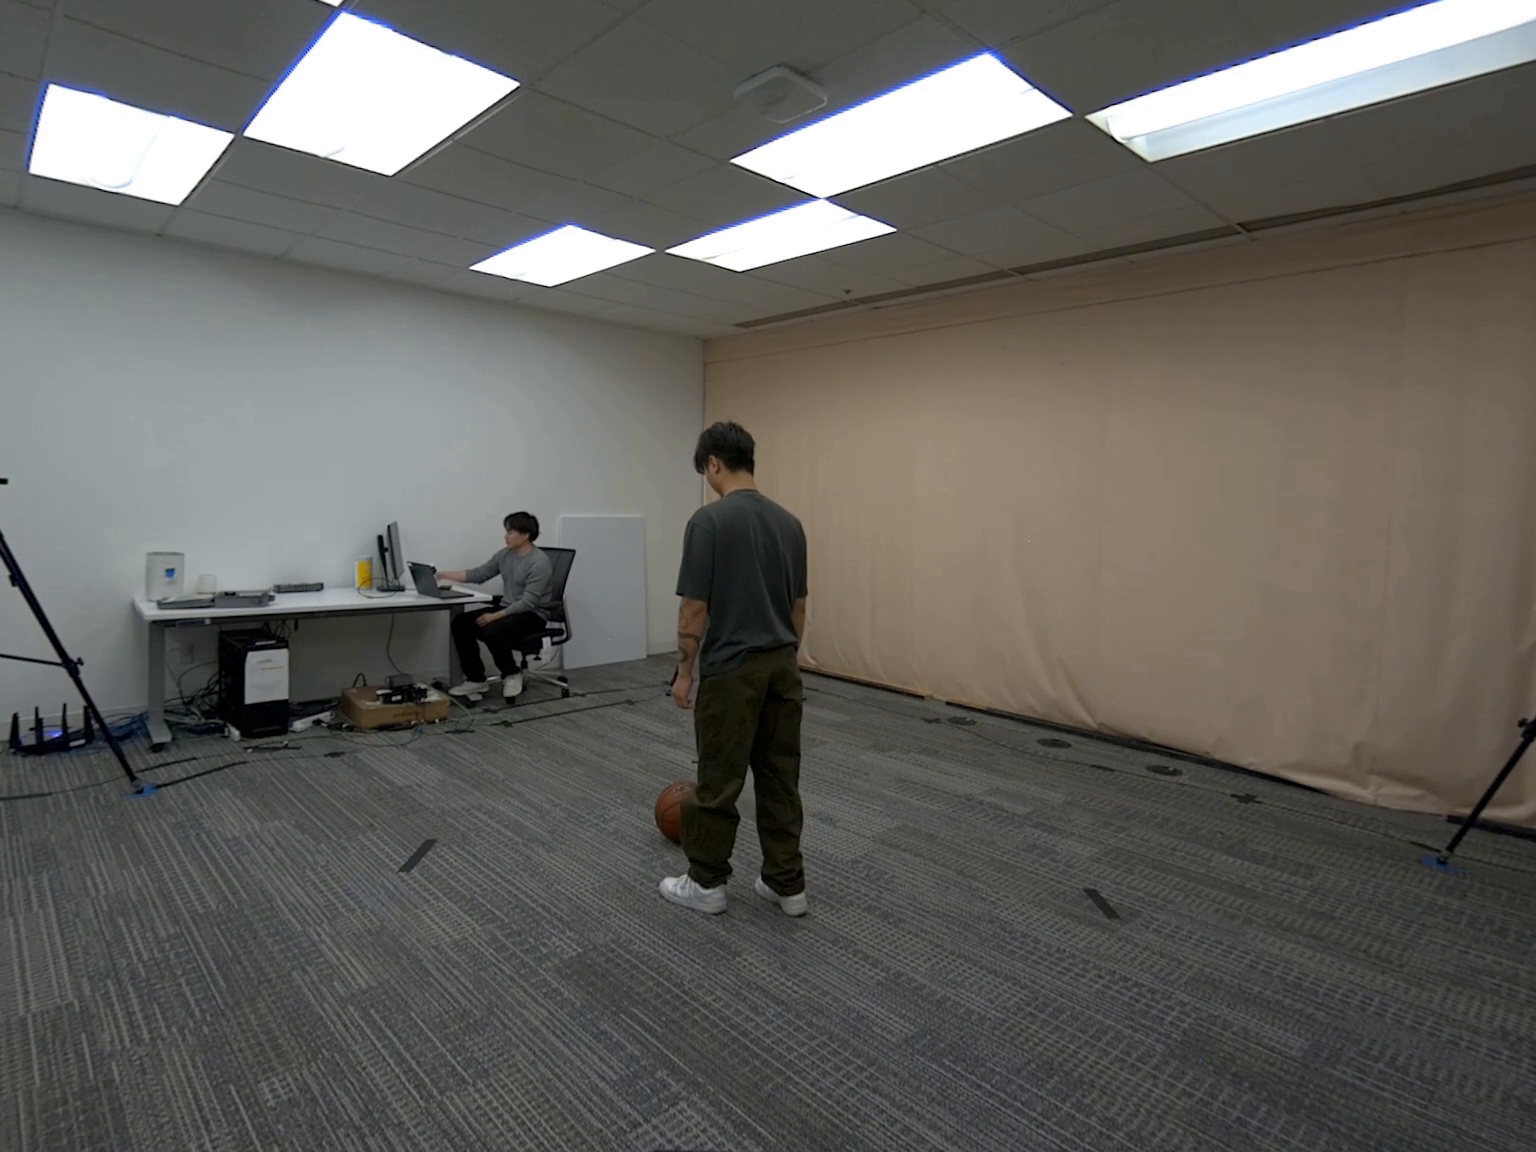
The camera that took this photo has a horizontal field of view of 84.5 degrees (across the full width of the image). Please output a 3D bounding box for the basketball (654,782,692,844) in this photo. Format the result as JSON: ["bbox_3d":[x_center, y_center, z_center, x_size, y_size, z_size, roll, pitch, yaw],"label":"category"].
[{"bbox_3d":[-0.345,0.952,3.405,0.236,0.235,0.237,1,4,-1],"label":"basketball"}]
